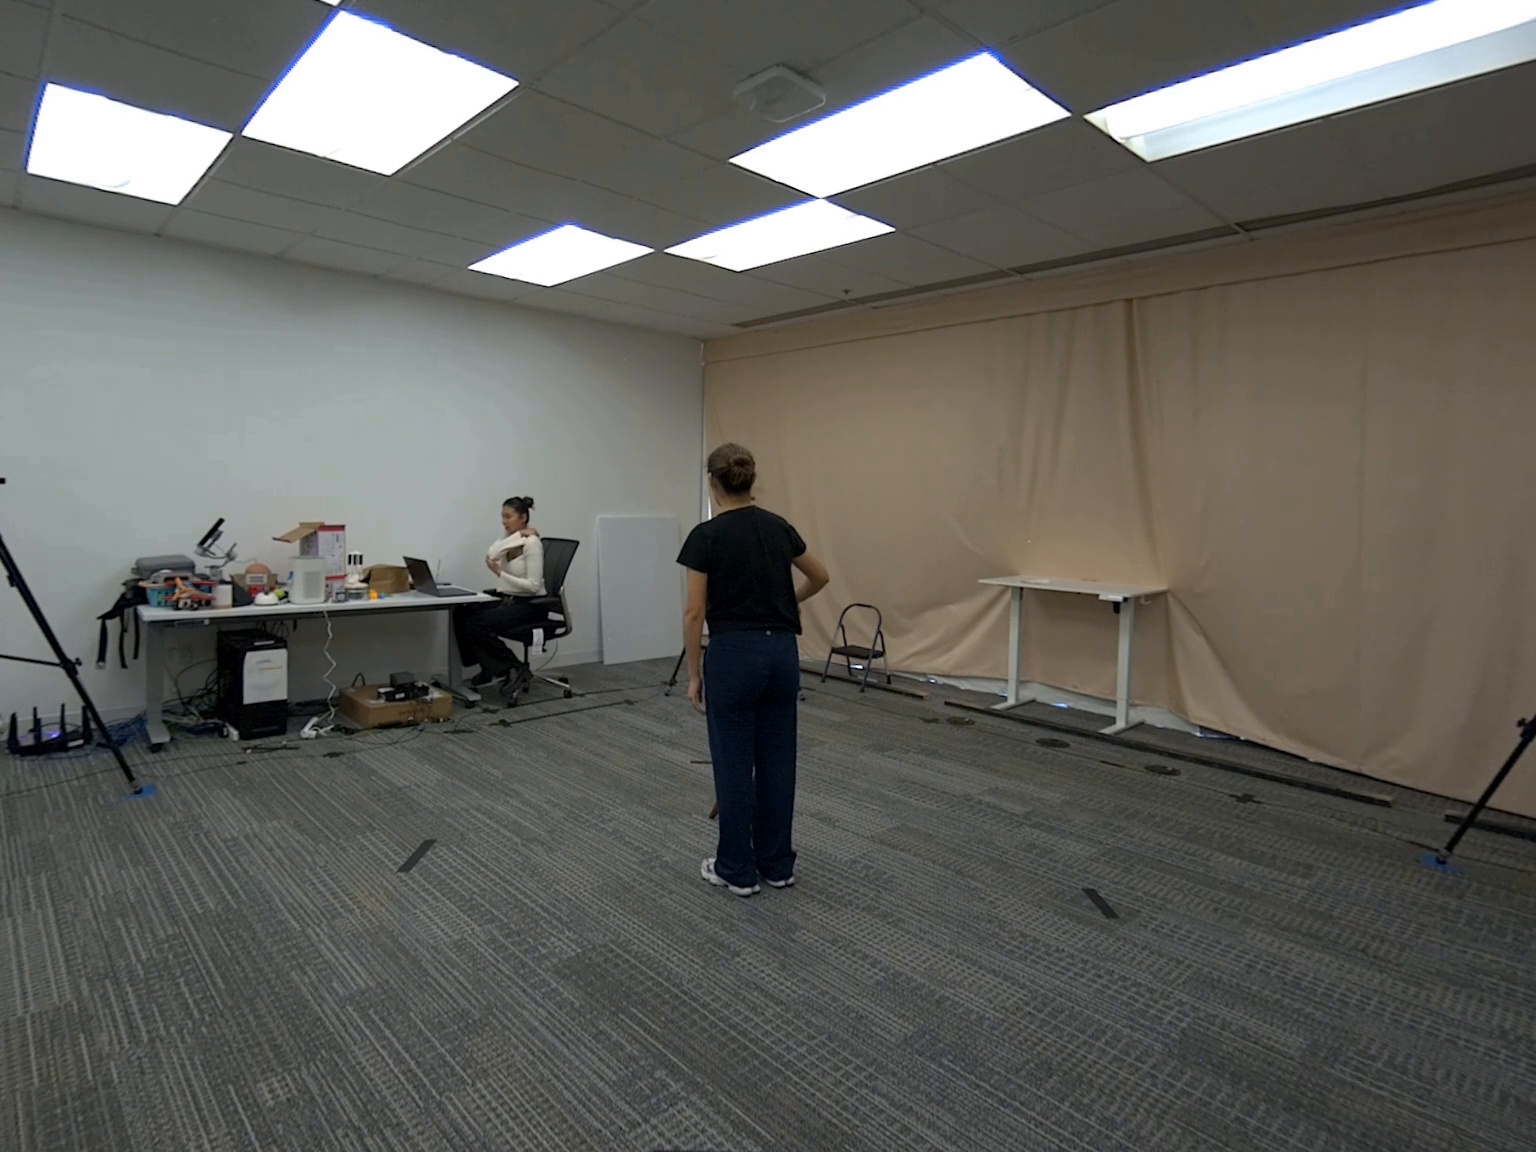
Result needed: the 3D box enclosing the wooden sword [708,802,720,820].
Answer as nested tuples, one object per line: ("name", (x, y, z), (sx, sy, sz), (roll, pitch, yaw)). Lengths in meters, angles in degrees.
("wooden sword", (-0.066, 0.616, 3.497), (0.024, 1.018, 0.052), (15, 18, -19))
